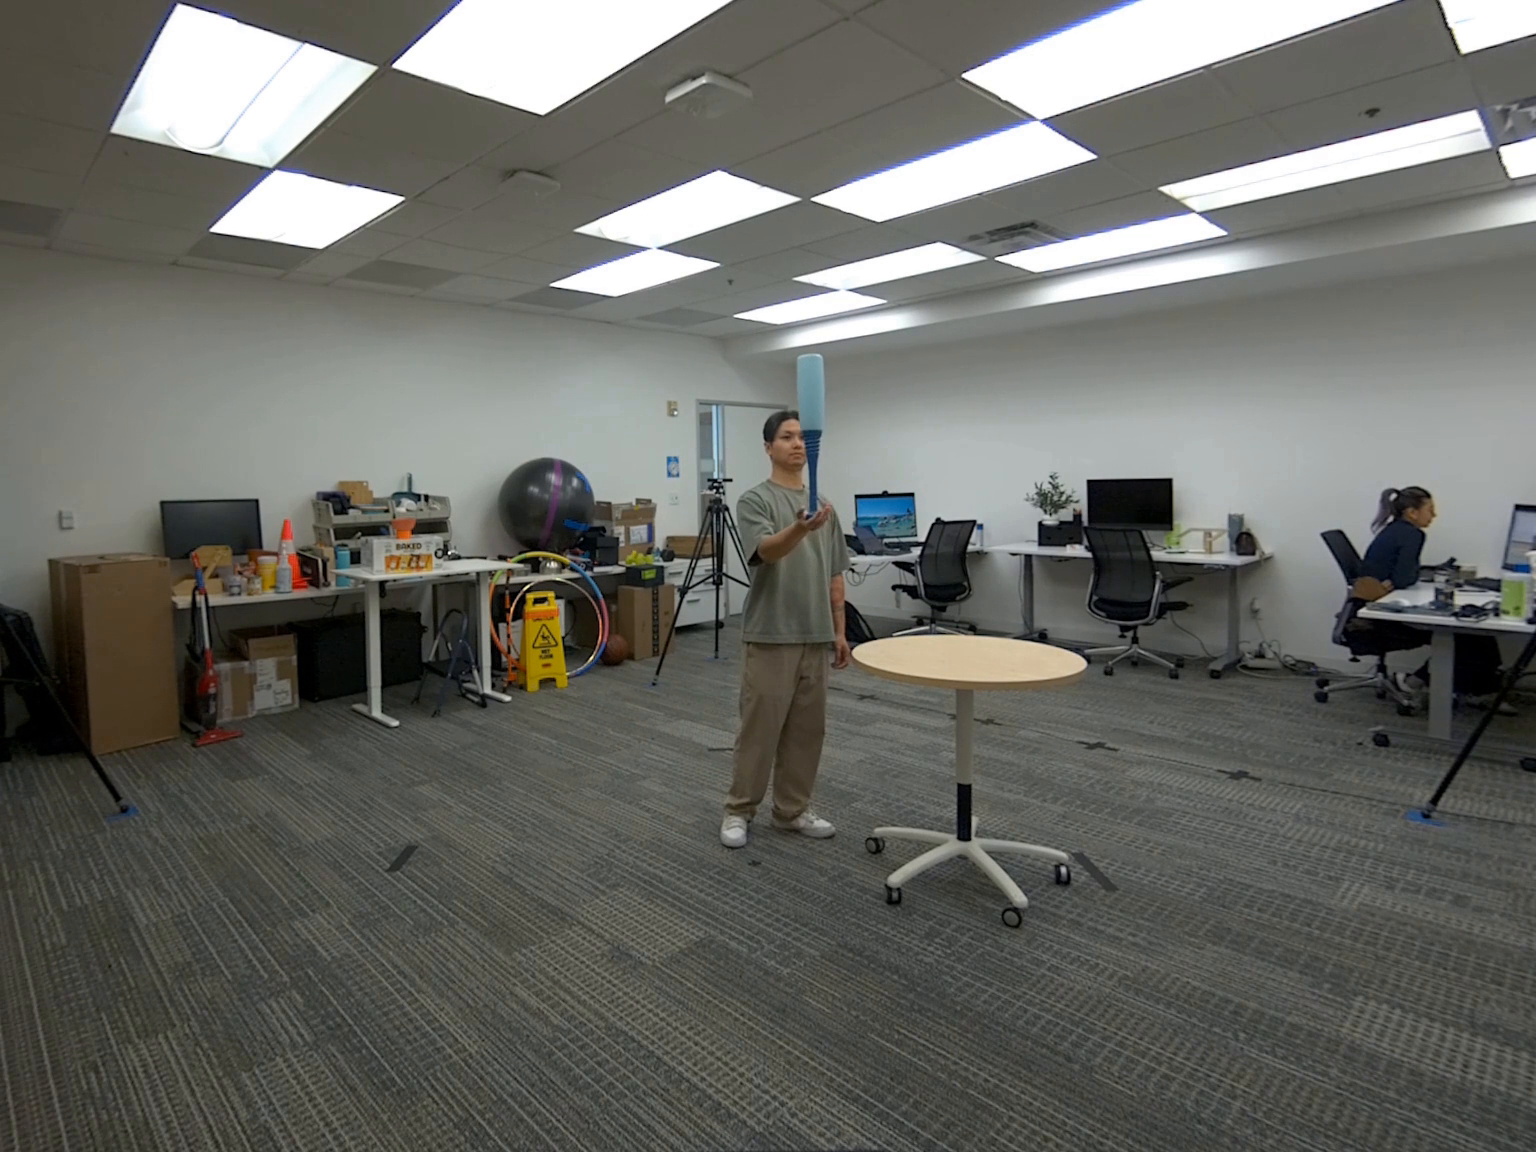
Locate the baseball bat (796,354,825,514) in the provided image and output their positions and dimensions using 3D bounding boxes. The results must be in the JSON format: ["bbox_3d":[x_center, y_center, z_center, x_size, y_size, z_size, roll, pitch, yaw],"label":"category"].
[{"bbox_3d":[0.146,-0.452,2.792,0.089,0.544,0.089,-1,-3,-2],"label":"baseball bat"}]
